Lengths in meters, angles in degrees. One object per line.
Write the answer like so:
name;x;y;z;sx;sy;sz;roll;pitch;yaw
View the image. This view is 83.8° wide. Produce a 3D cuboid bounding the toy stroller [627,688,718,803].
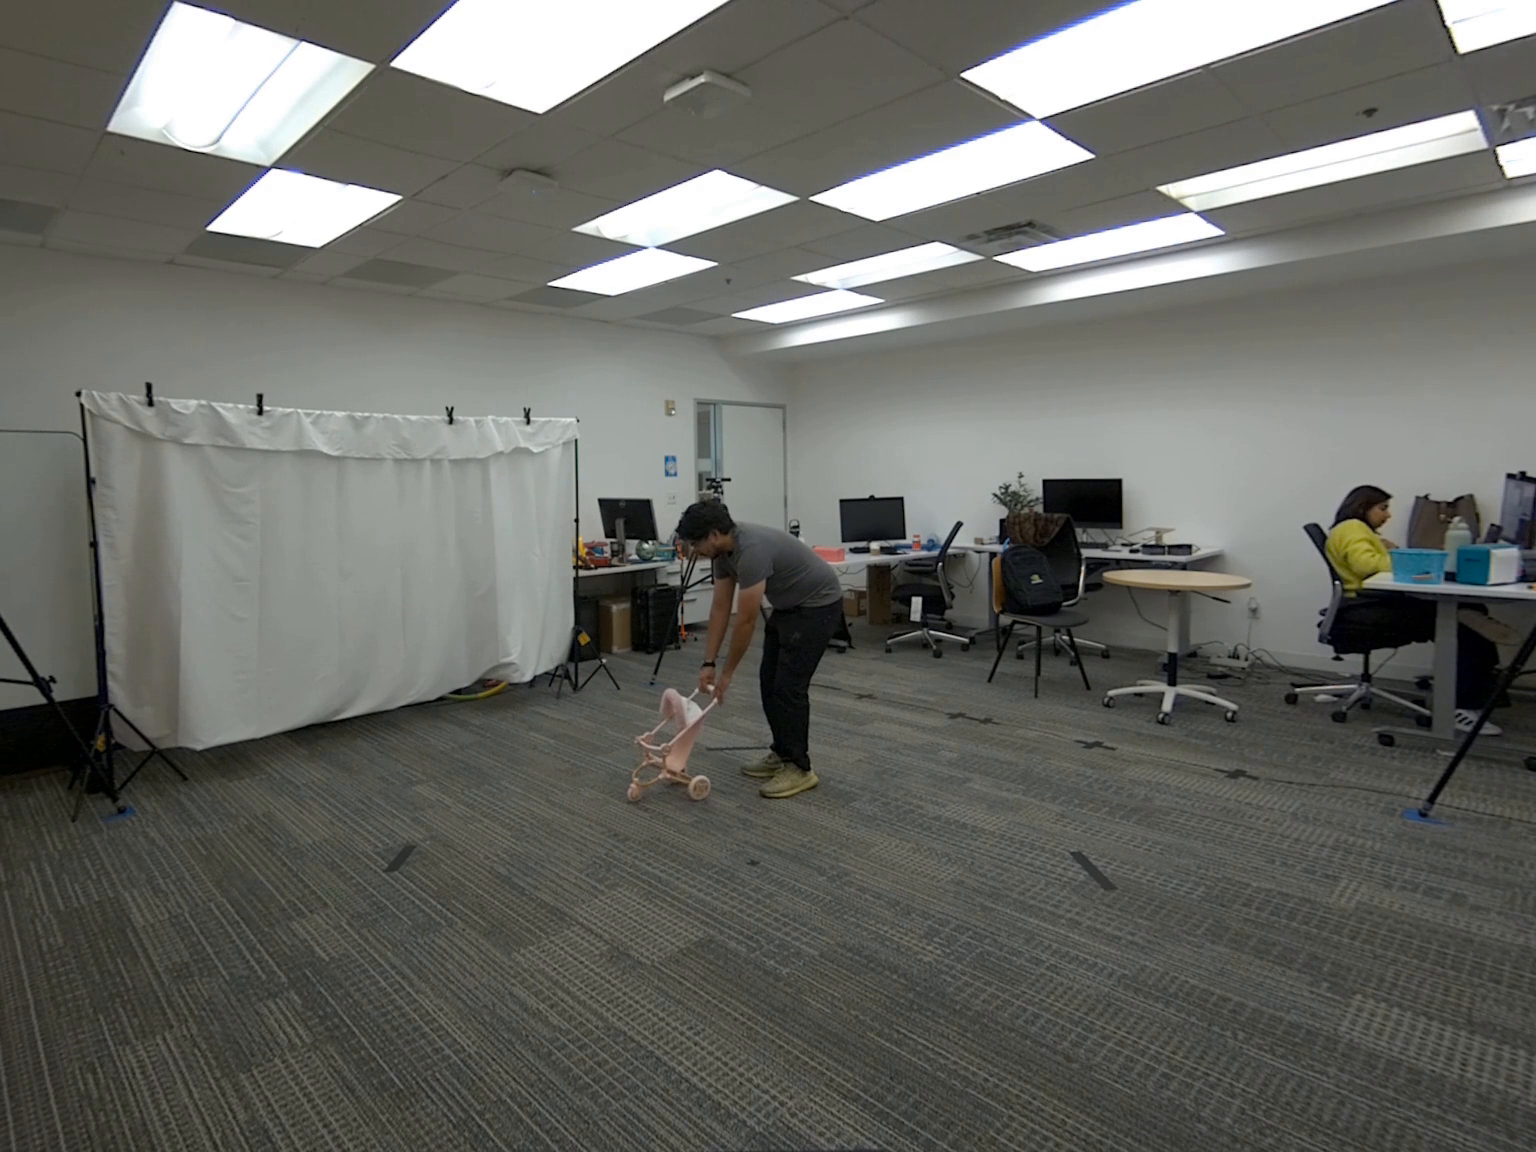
toy stroller;-0.427;0.742;3.792;0.333;0.535;0.288;11;-1;-25
